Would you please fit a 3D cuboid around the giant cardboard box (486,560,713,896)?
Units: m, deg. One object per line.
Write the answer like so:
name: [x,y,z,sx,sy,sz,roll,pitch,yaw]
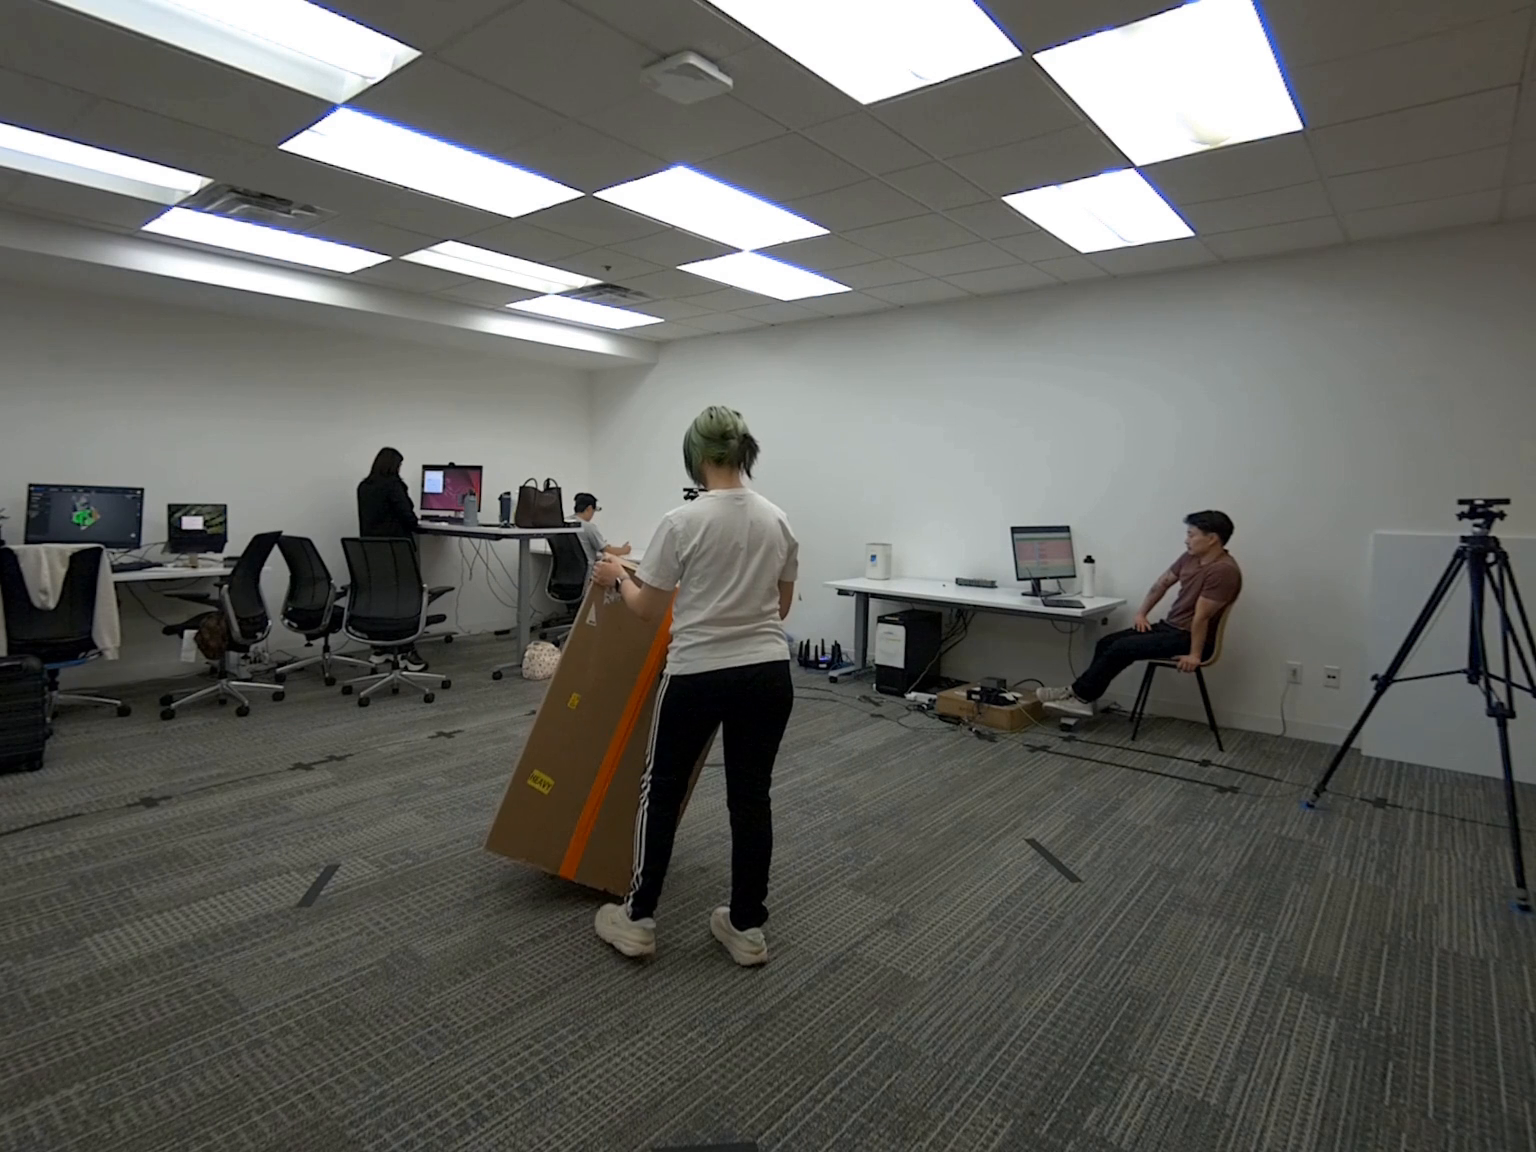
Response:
giant cardboard box: [-0.525,0.507,3.013,0.572,1.026,0.430,23,-1,-7]
